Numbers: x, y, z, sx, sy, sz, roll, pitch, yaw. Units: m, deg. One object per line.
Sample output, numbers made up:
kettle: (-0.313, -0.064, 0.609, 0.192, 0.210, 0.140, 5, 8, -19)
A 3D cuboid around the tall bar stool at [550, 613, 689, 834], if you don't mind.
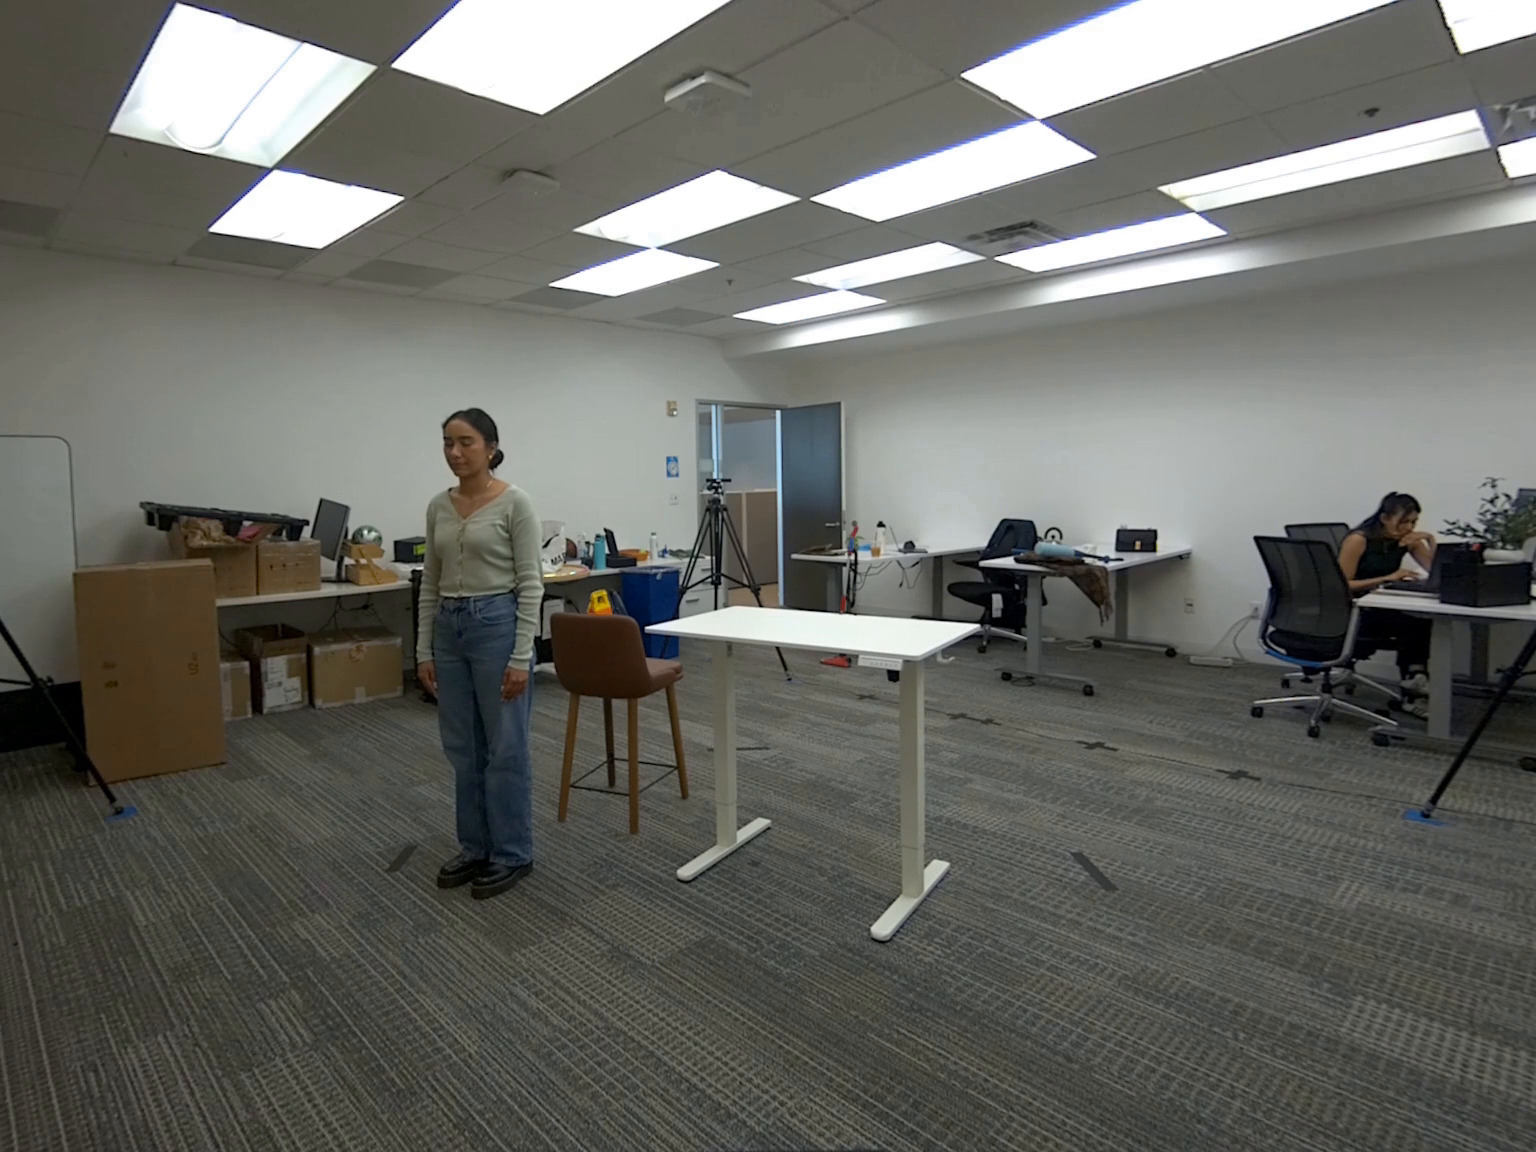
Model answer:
tall bar stool: (-0.629, 0.561, 3.620, 0.467, 0.885, 0.460, 1, 6, 24)
